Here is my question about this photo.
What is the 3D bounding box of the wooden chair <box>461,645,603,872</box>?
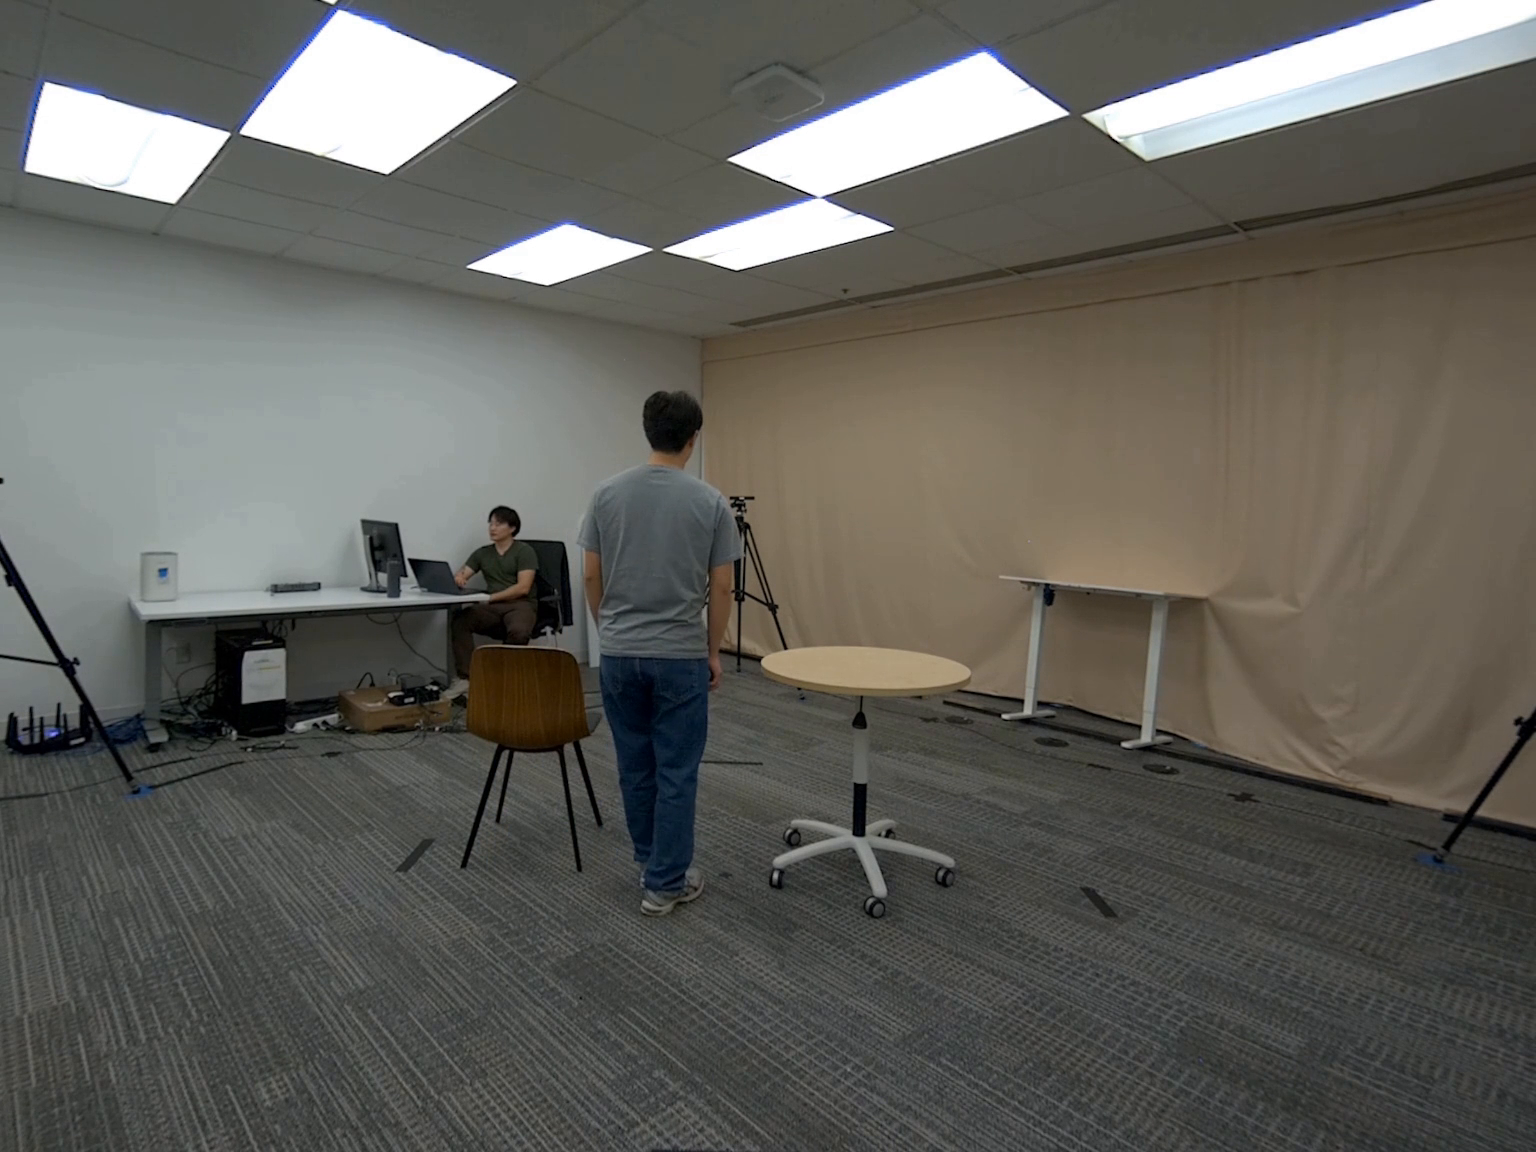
[{"bbox_3d":[-0.908,0.638,3.306,0.478,0.873,0.525,1,7,0],"label":"wooden chair"}]
